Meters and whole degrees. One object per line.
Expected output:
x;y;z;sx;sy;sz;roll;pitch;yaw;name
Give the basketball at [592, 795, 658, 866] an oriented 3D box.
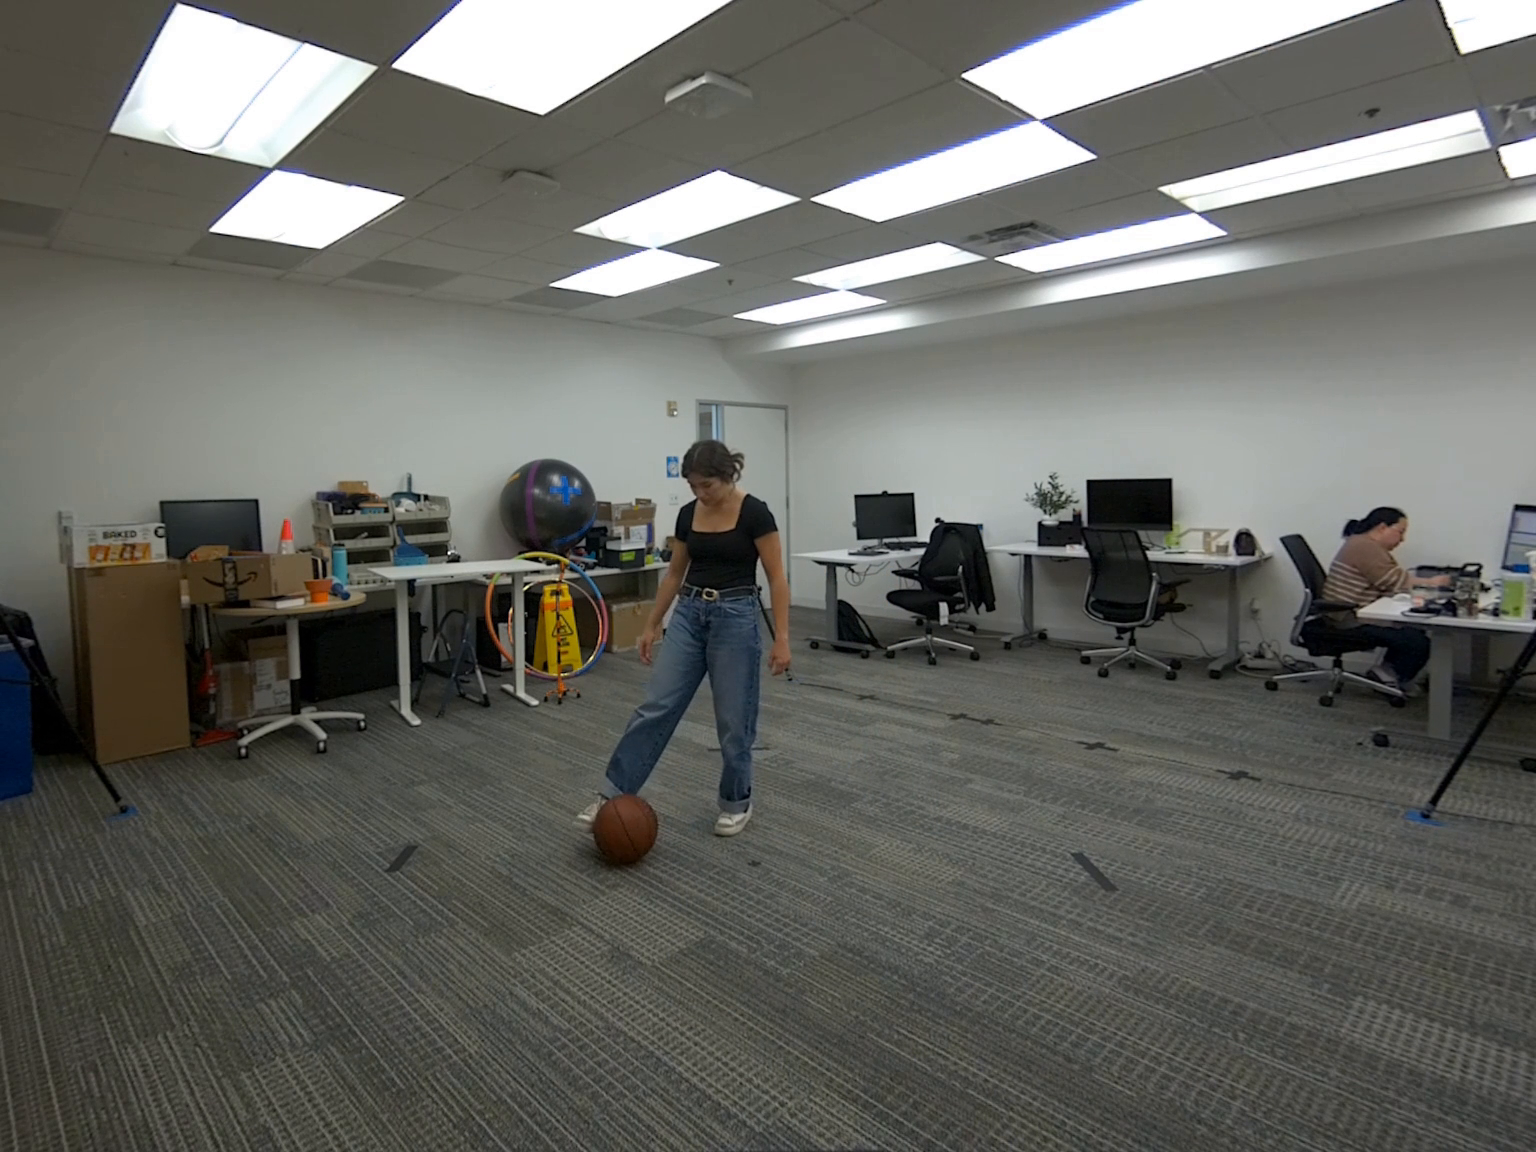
-0.515;0.926;3.141;0.236;0.235;0.237;-1;5;-2;basketball
